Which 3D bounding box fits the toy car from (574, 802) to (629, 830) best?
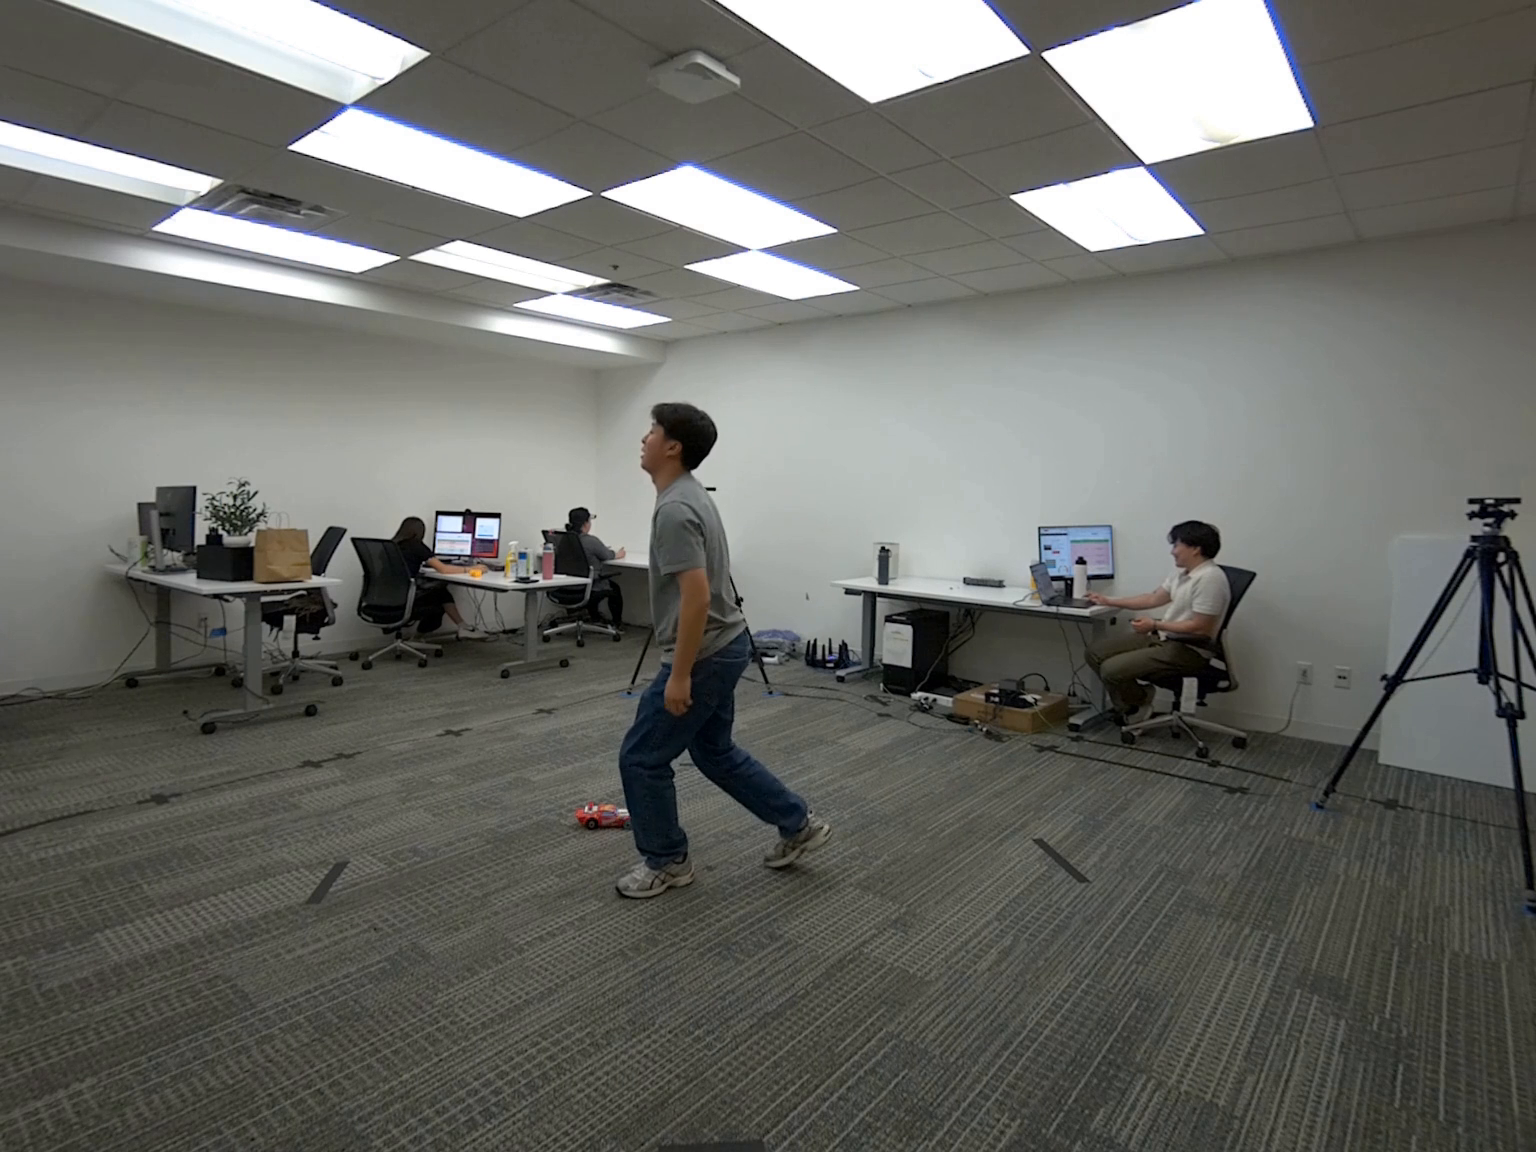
[{"bbox_3d":[-0.687,0.989,3.506,0.252,0.083,0.132,12,4,-7],"label":"toy car"}]
